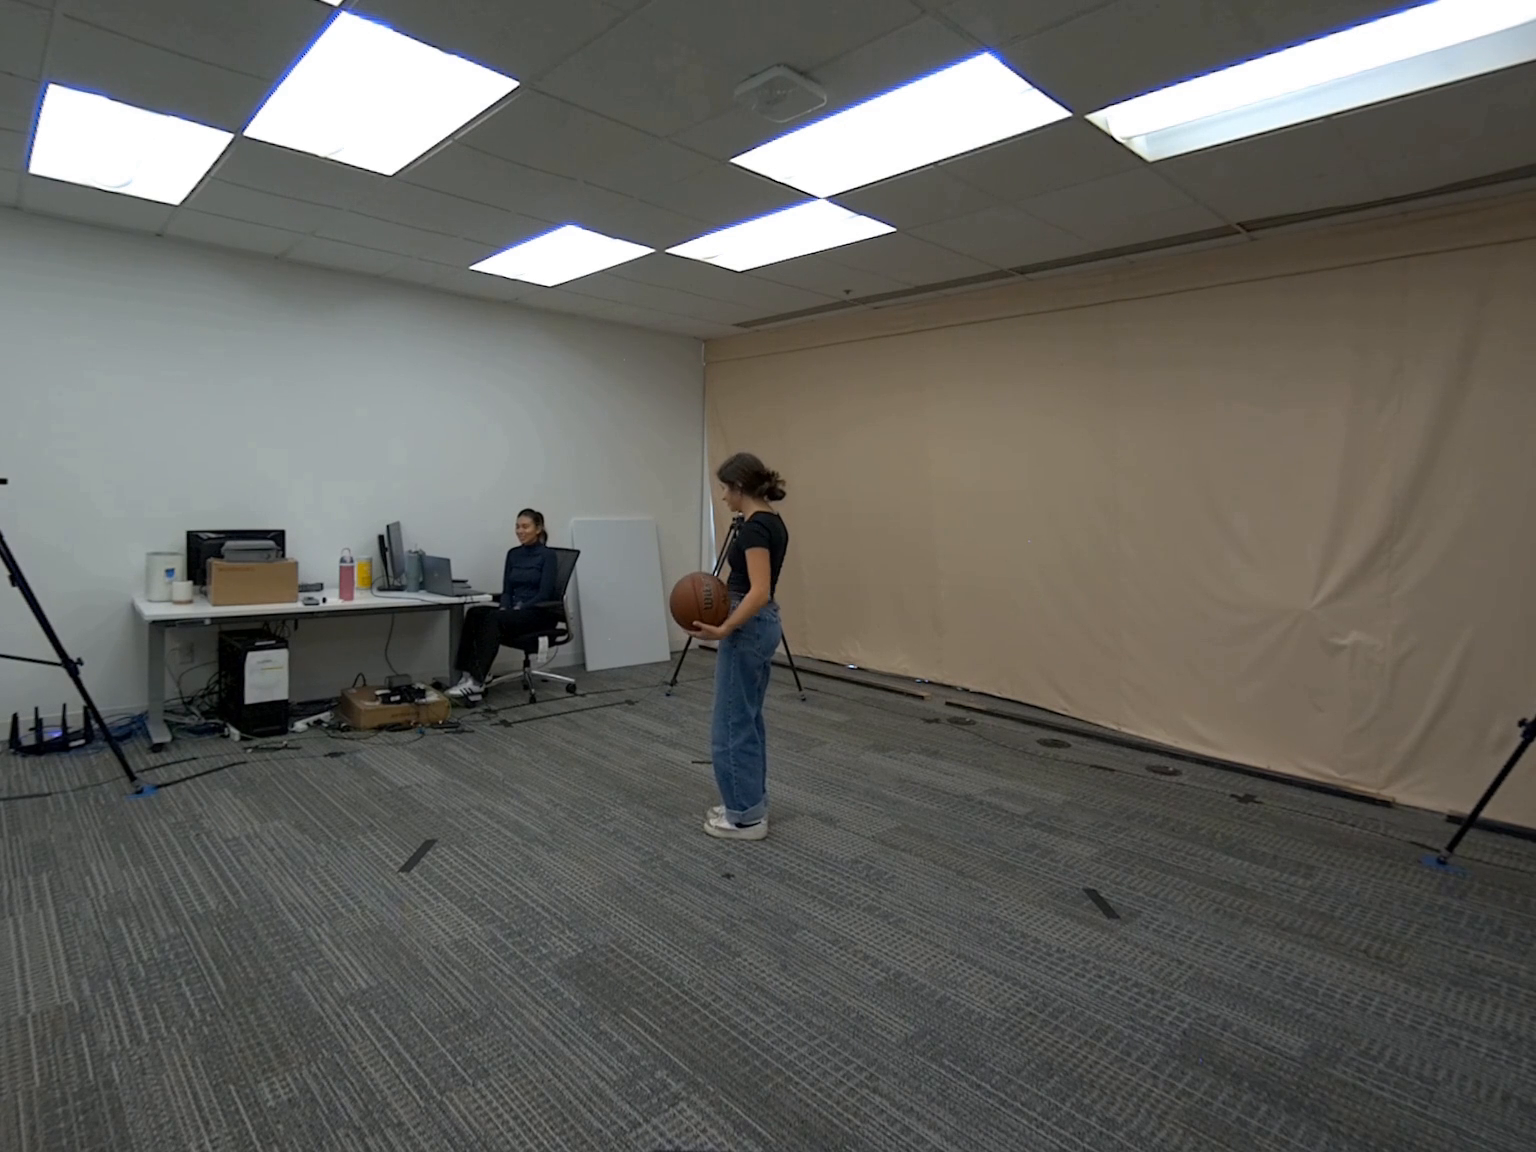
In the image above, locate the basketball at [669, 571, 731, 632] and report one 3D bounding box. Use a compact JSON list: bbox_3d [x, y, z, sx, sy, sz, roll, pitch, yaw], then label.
[{"bbox_3d":[-0.263,0.101,3.282,0.236,0.235,0.237,1,4,-1],"label":"basketball"}]
